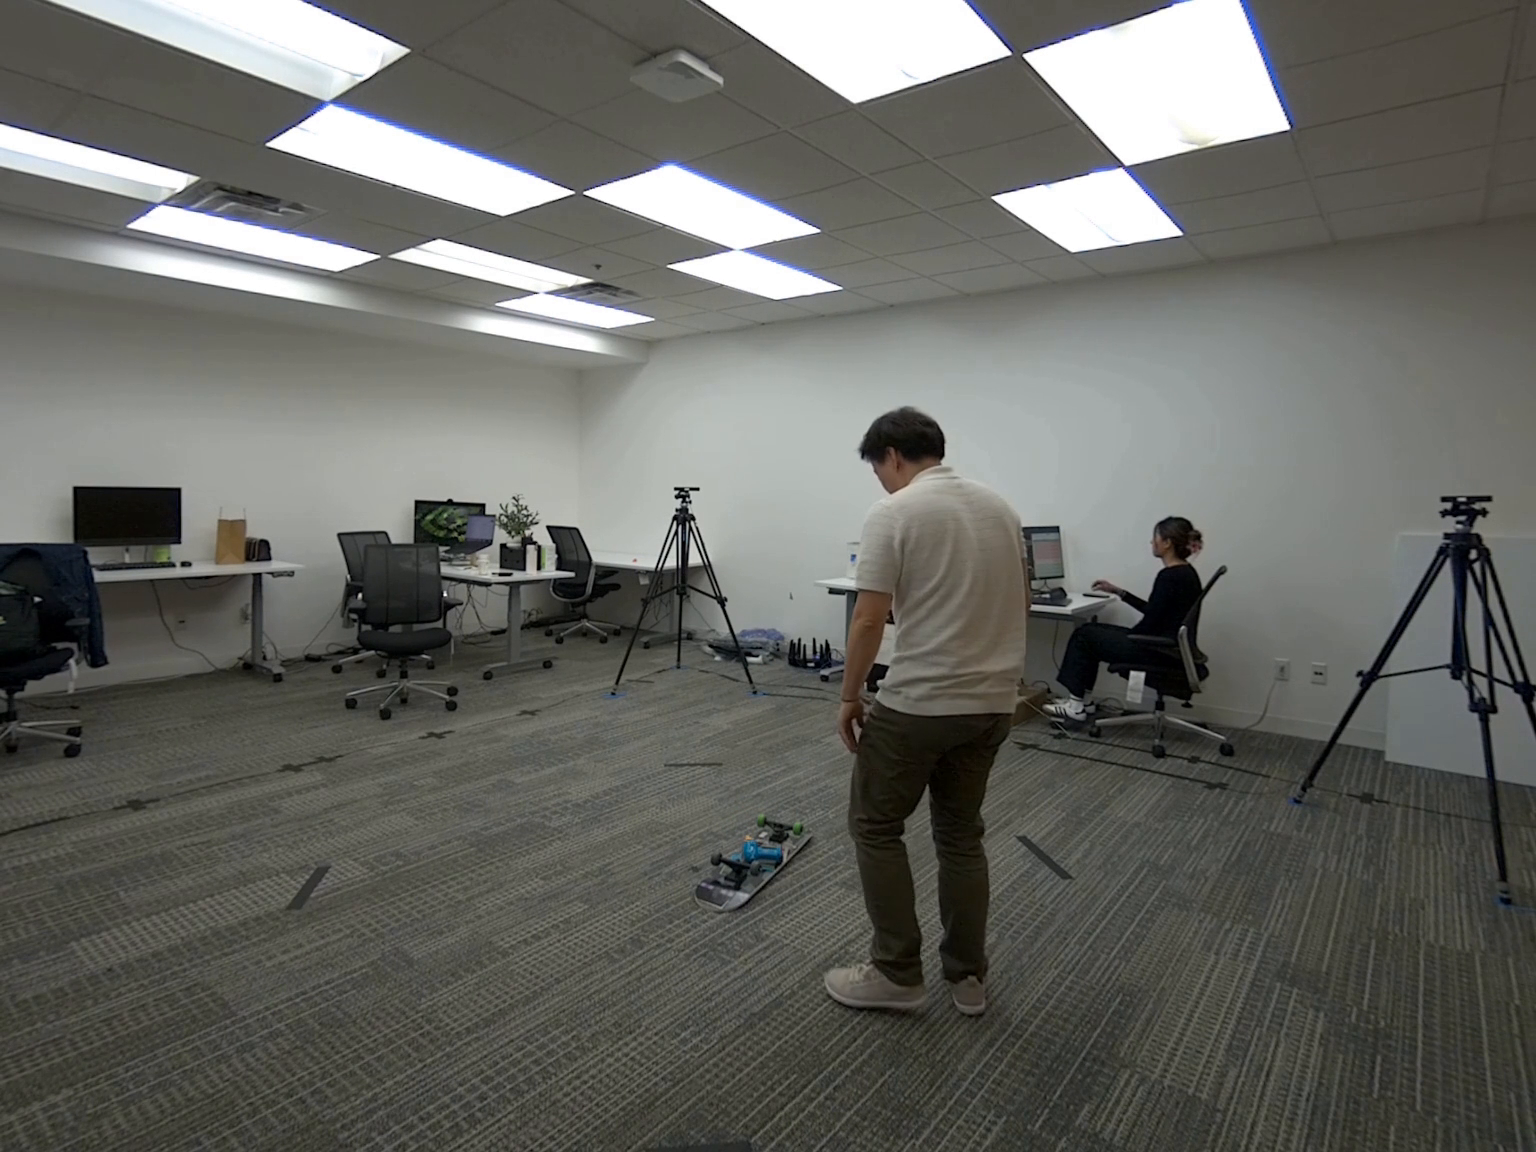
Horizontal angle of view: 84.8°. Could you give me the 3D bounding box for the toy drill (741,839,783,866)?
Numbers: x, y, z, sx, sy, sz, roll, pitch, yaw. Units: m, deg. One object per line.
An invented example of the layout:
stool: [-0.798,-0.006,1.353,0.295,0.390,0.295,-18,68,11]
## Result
toy drill: [-0.031,1.005,3.145,0.145,0.060,0.172,2,12,-7]
